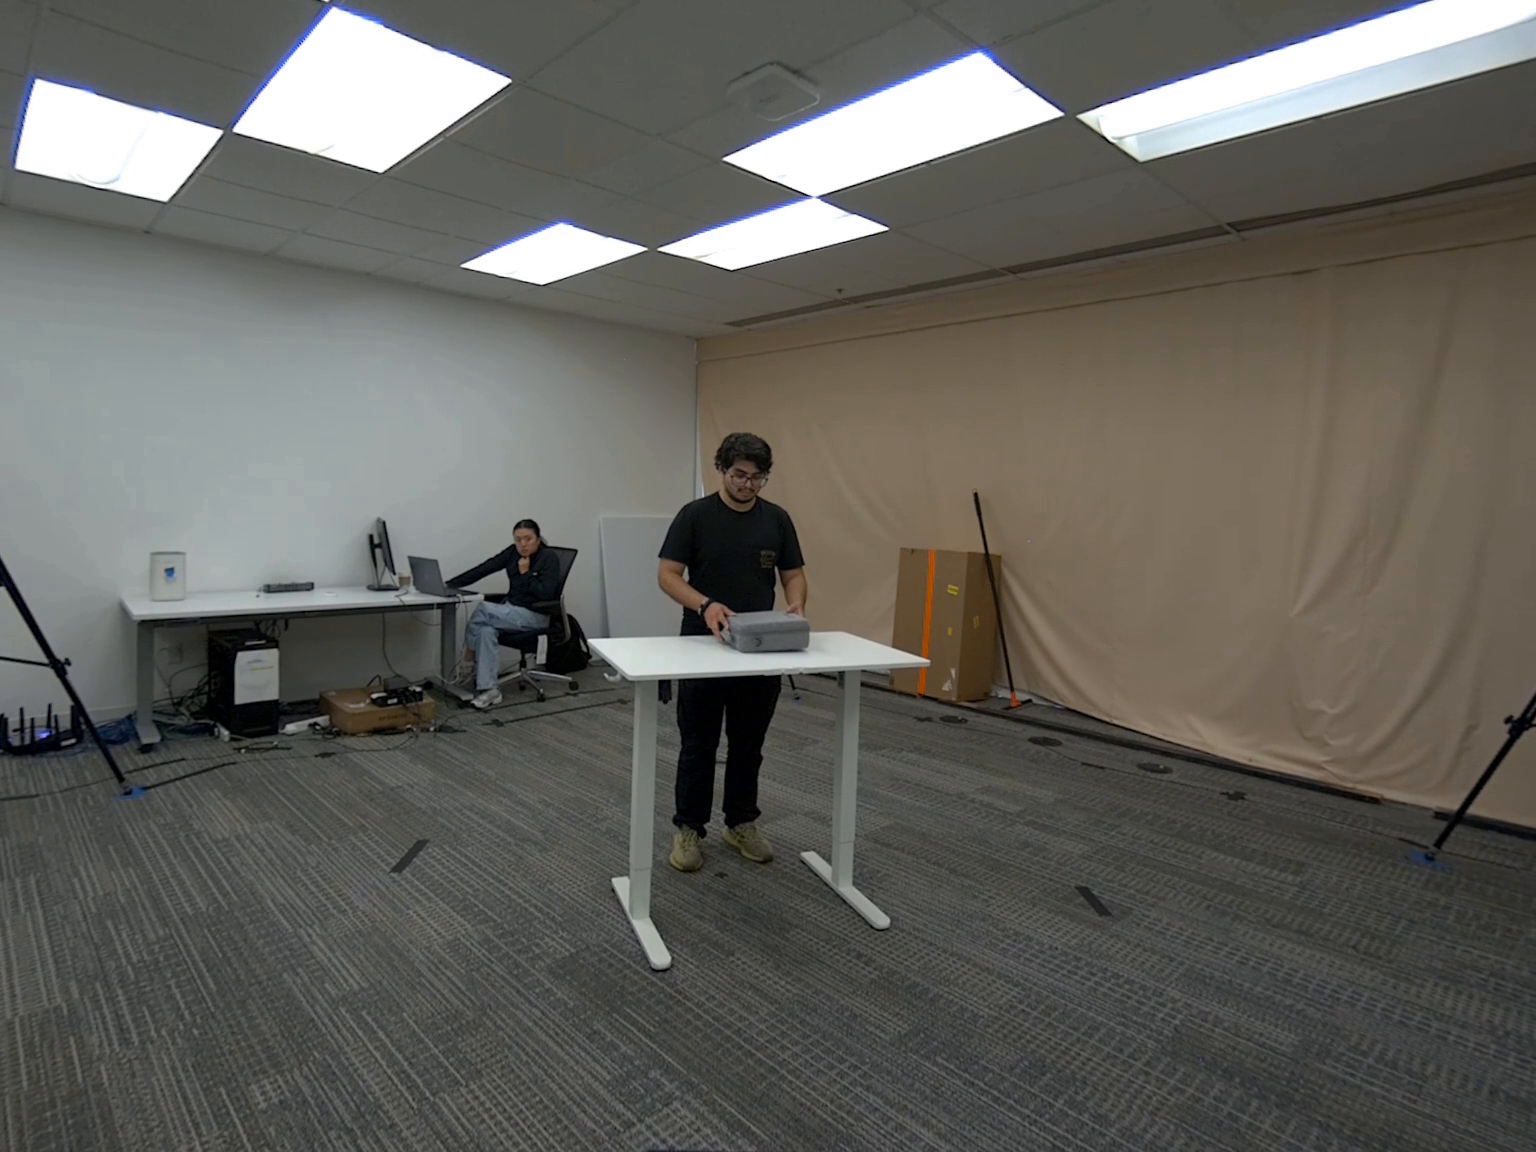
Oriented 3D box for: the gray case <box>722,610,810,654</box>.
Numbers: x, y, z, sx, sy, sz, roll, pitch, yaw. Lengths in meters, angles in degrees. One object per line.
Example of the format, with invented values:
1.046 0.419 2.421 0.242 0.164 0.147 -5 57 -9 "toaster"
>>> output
-0.010 0.193 2.887 0.258 0.104 0.260 -1 5 -14 "gray case"
